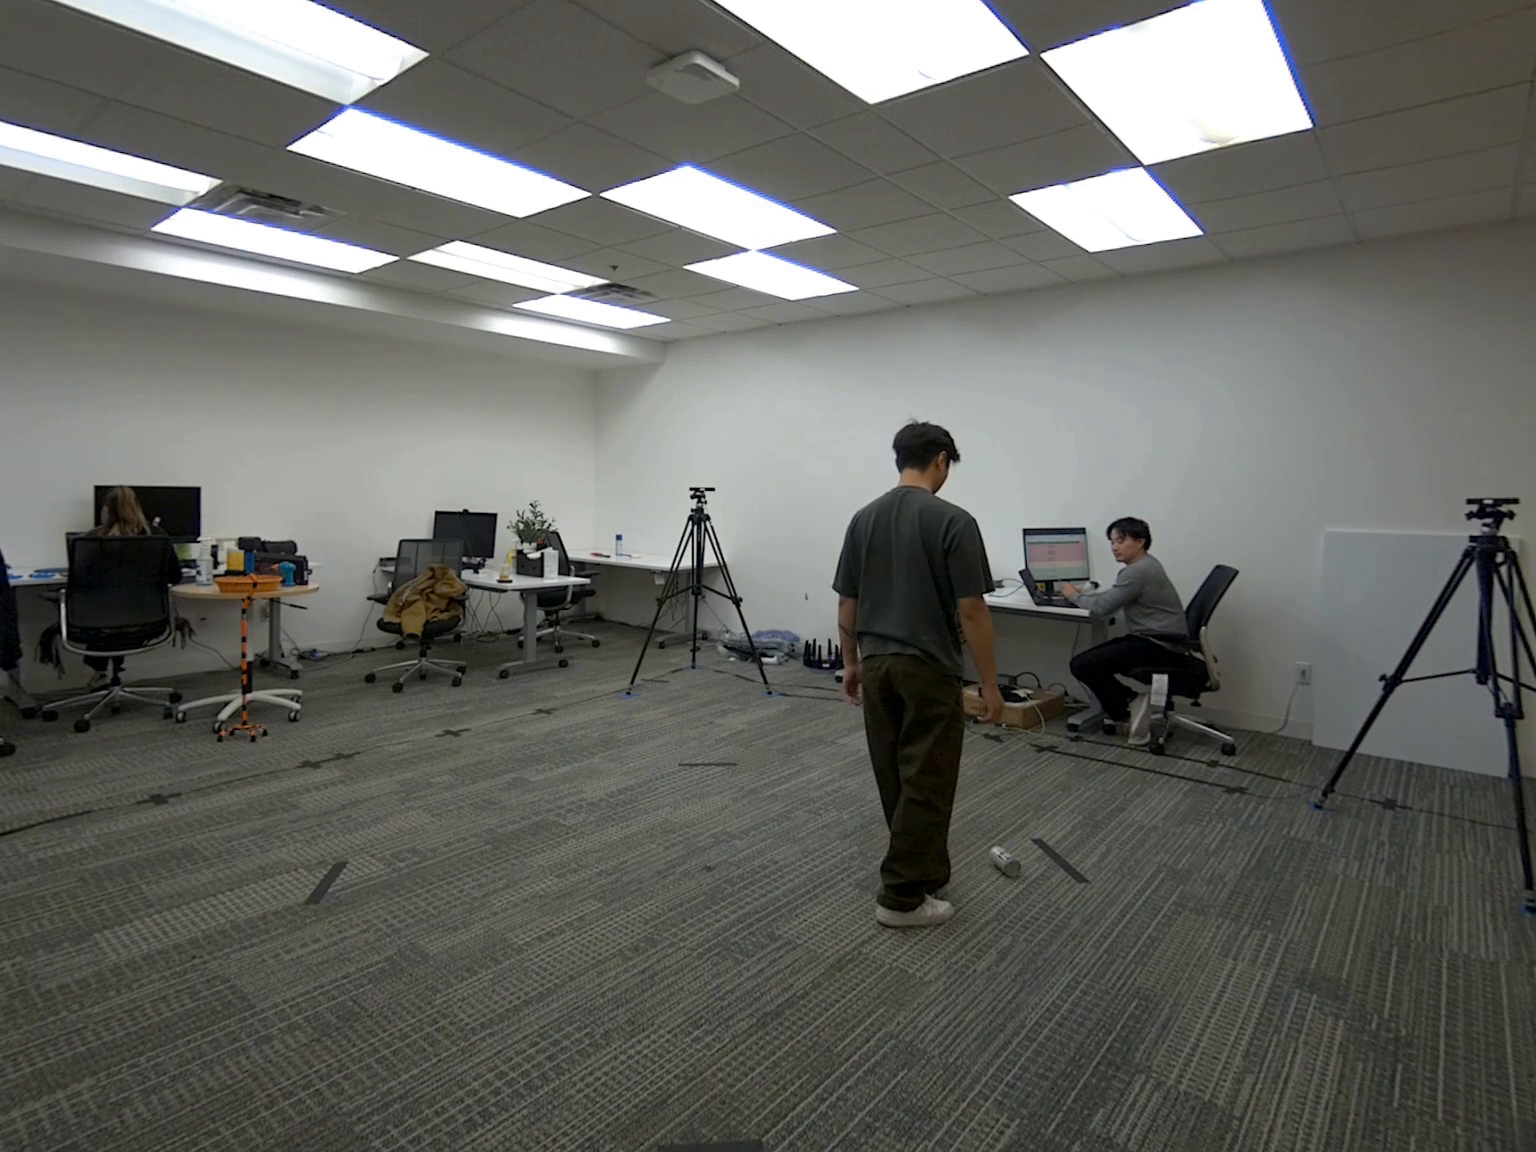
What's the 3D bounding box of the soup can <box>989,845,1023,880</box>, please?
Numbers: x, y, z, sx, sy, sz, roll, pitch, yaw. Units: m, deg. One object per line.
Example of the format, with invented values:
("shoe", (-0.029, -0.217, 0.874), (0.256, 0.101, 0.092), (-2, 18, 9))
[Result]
("soup can", (0.868, 1.049, 3.152), (0.066, 0.067, 0.123), (0, 5, -12))
